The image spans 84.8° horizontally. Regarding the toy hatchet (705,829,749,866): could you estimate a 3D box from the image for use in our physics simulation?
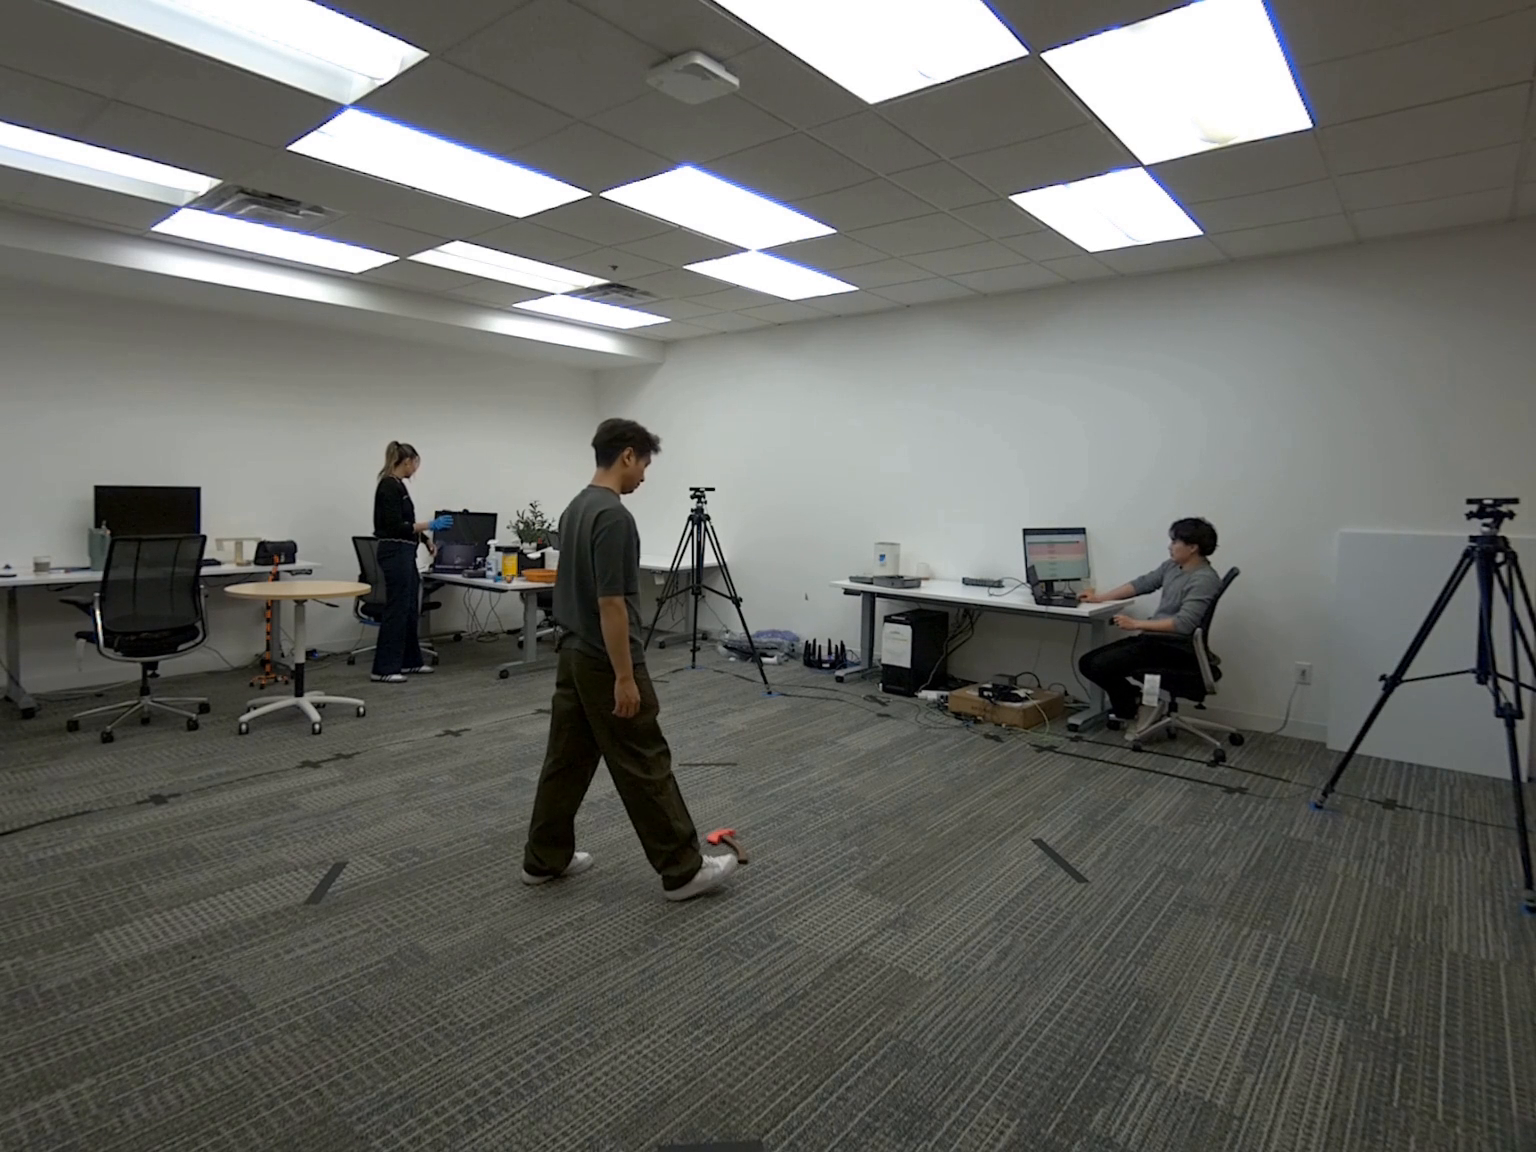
[{"bbox_3d":[-0.172,1.040,3.275,0.129,0.029,0.275,1,7,-13],"label":"toy hatchet"}]
